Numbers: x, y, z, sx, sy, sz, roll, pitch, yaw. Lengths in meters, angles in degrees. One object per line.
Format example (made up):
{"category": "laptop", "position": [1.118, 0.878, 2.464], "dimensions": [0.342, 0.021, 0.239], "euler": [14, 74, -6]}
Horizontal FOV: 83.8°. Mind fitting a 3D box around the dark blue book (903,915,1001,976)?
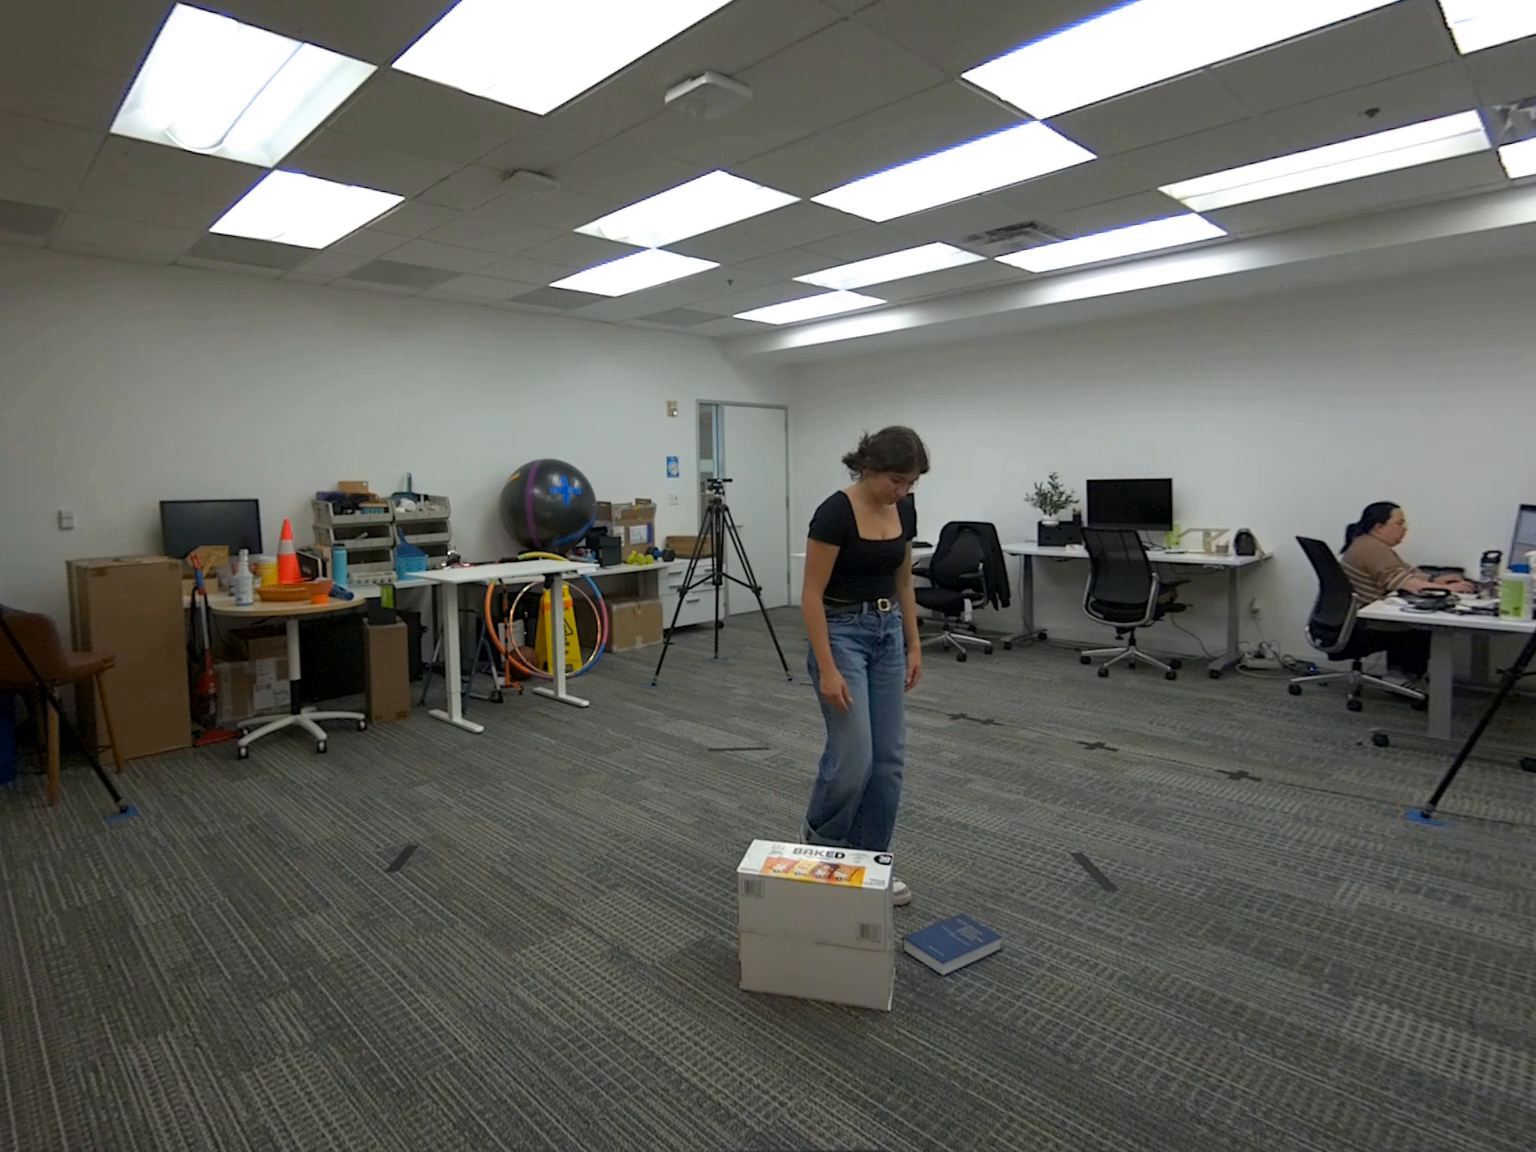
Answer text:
{"category": "dark blue book", "position": [0.552, 1.085, 2.506], "dimensions": [0.239, 0.045, 0.168], "euler": [-6, 8, -33]}
